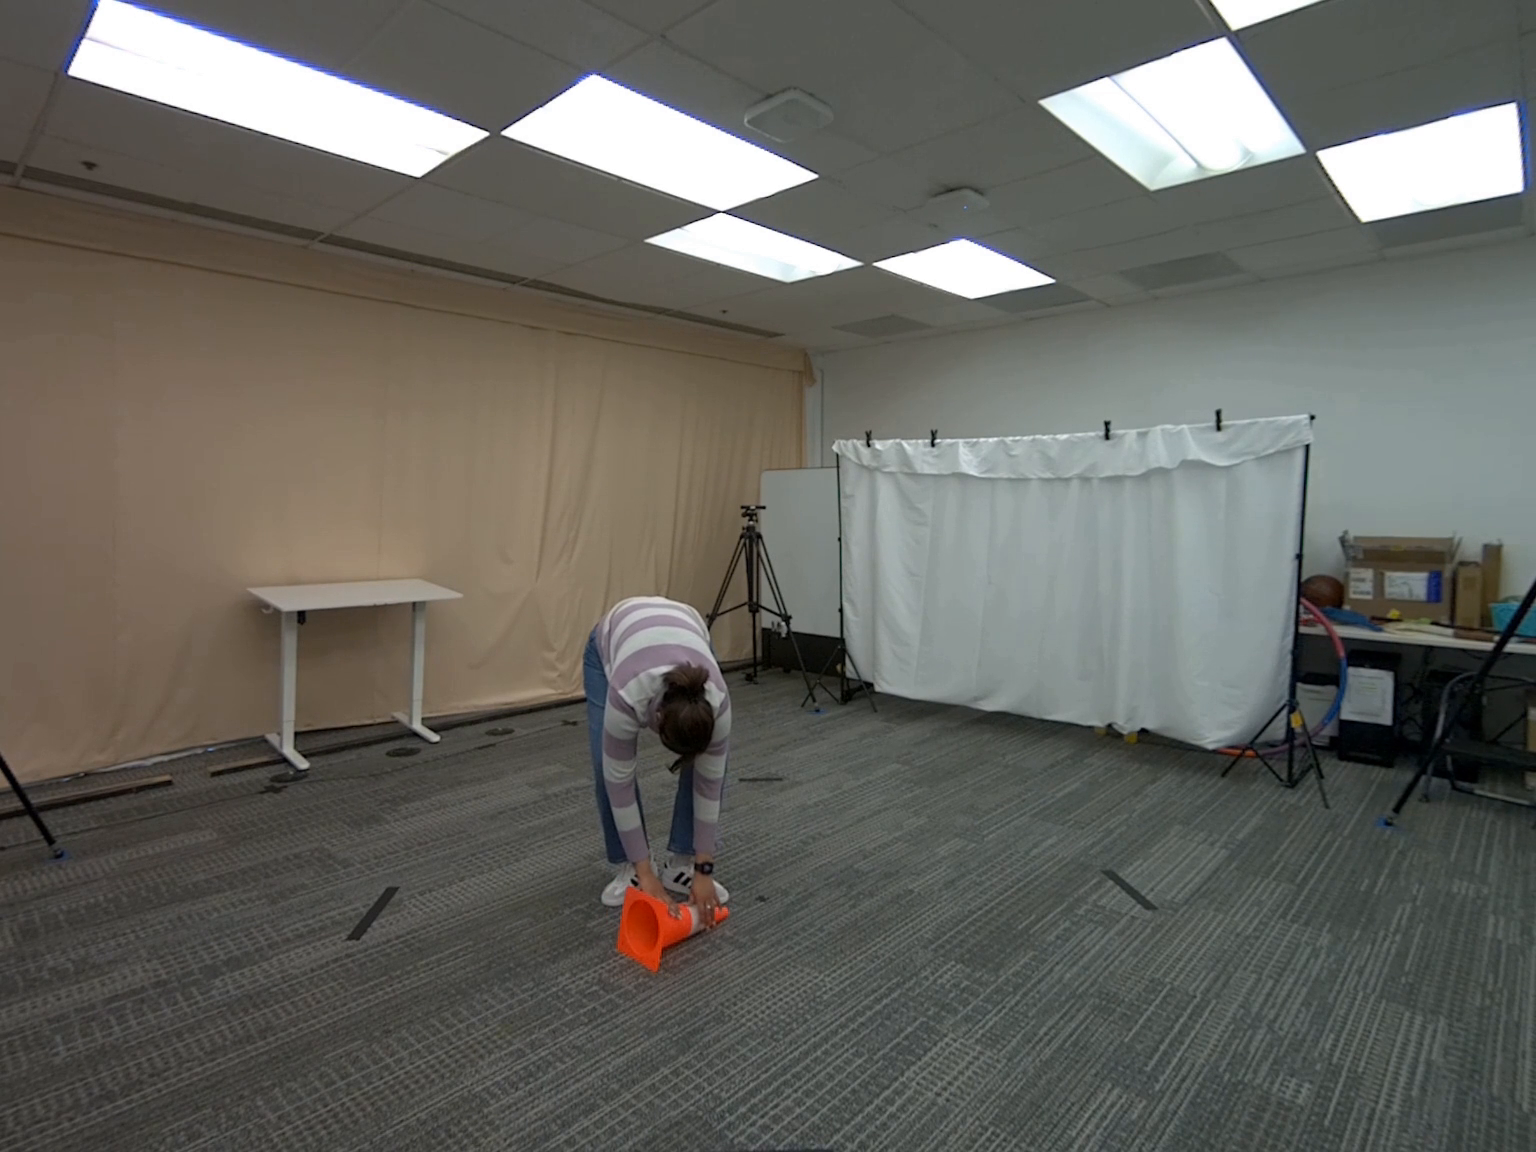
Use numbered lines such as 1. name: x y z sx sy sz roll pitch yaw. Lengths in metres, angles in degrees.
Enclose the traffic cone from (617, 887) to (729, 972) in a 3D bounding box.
1. traffic cone: -0.271 1.119 2.724 0.212 0.204 0.370 2 -9 44
